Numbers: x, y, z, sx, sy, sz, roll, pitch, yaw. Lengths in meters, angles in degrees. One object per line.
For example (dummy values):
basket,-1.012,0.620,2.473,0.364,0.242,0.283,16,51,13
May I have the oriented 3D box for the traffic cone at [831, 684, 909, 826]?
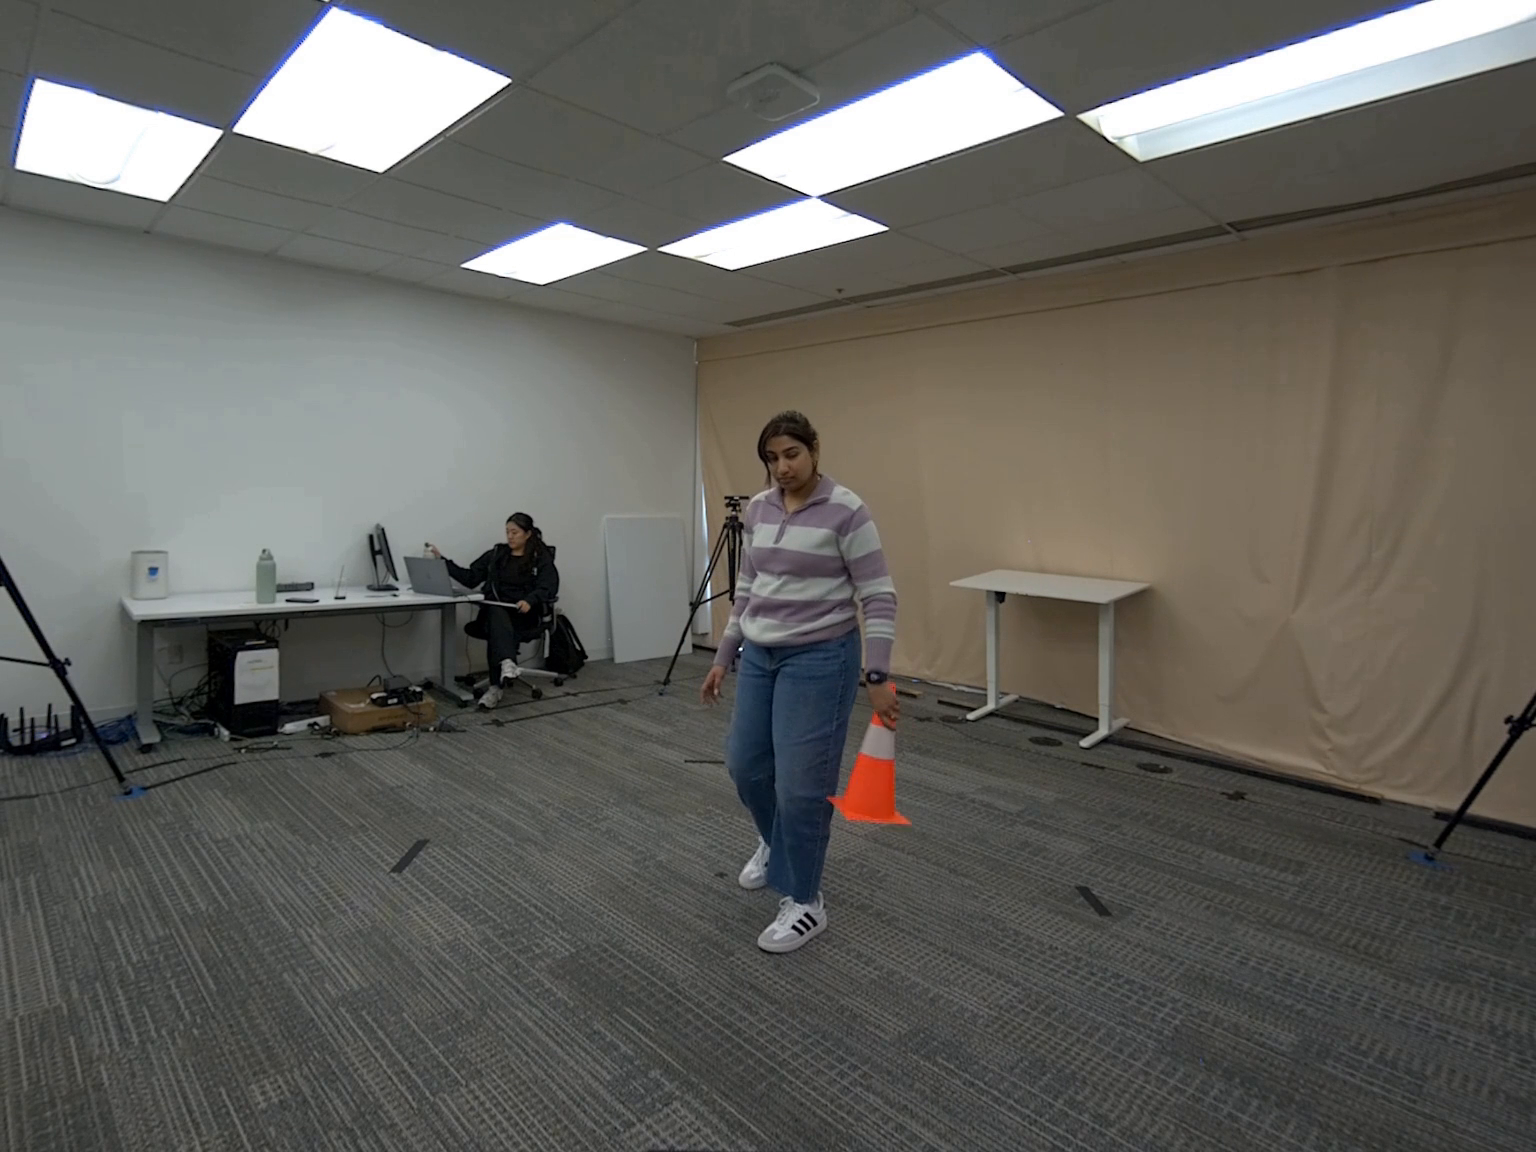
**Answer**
traffic cone,0.317,0.506,2.504,0.201,0.384,0.207,9,-1,-12
